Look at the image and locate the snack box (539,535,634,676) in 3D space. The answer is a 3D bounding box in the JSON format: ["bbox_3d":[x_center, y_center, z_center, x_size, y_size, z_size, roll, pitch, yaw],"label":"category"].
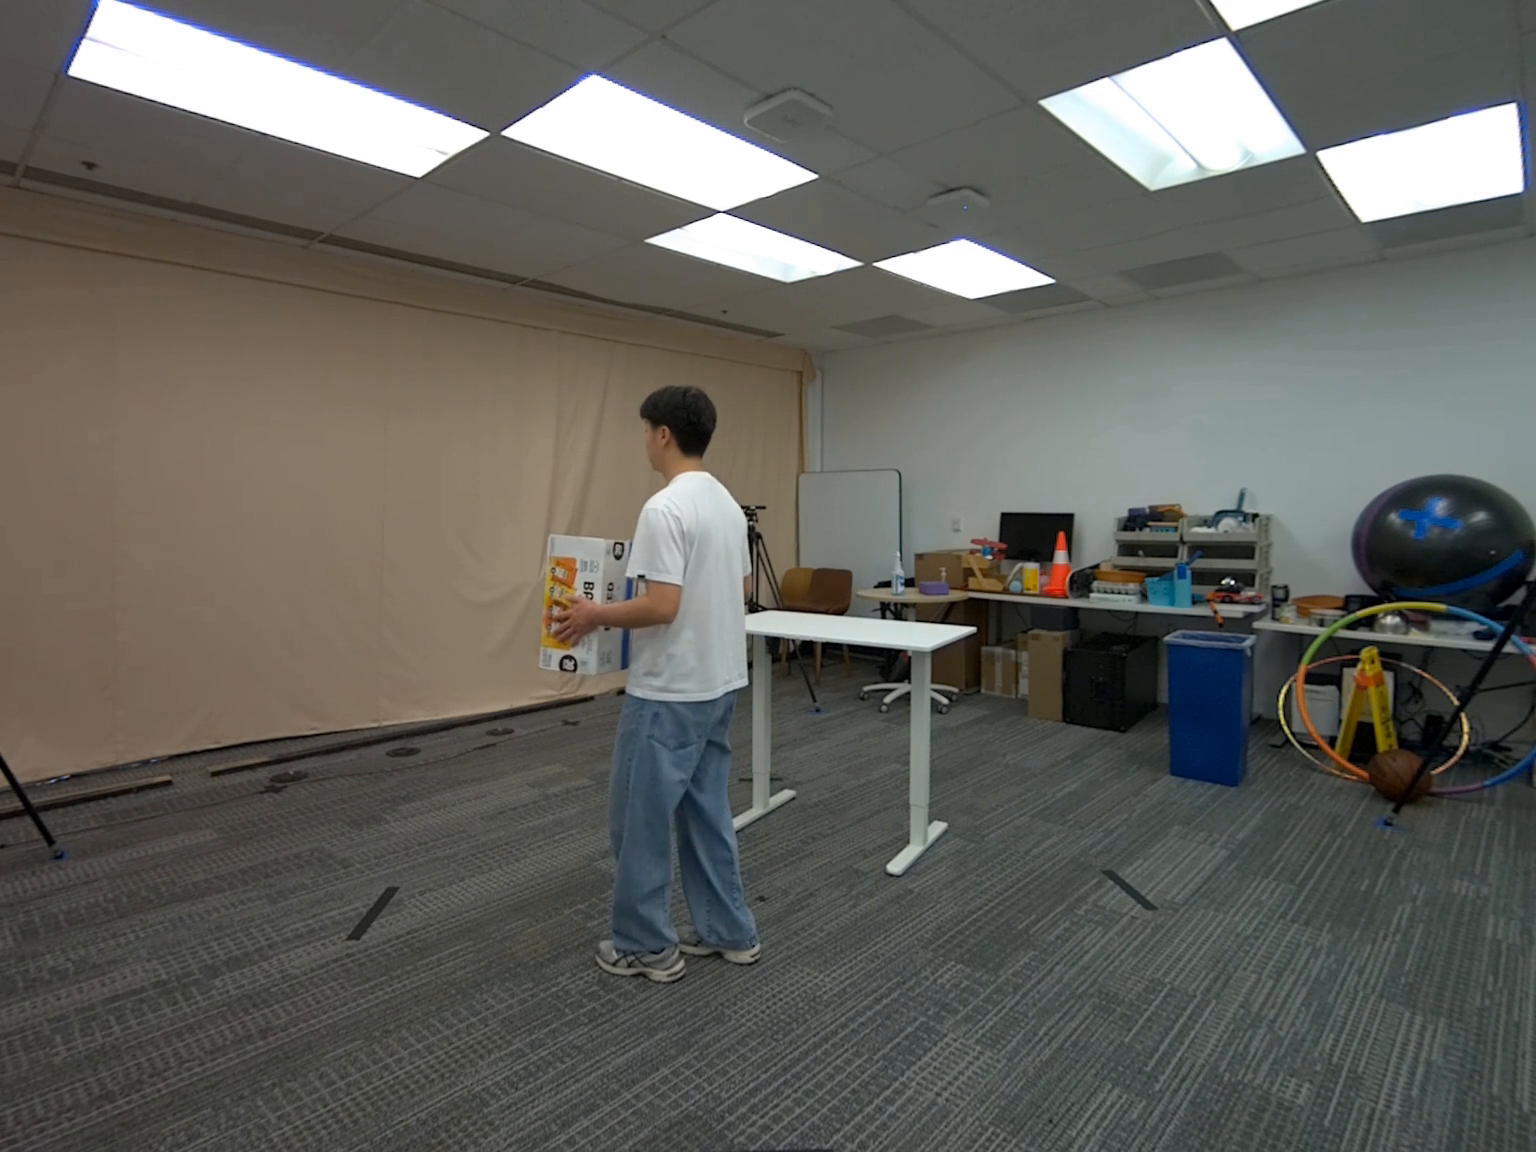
[{"bbox_3d":[-0.529,0.084,2.661,0.210,0.405,0.333,4,0,20],"label":"snack box"}]
